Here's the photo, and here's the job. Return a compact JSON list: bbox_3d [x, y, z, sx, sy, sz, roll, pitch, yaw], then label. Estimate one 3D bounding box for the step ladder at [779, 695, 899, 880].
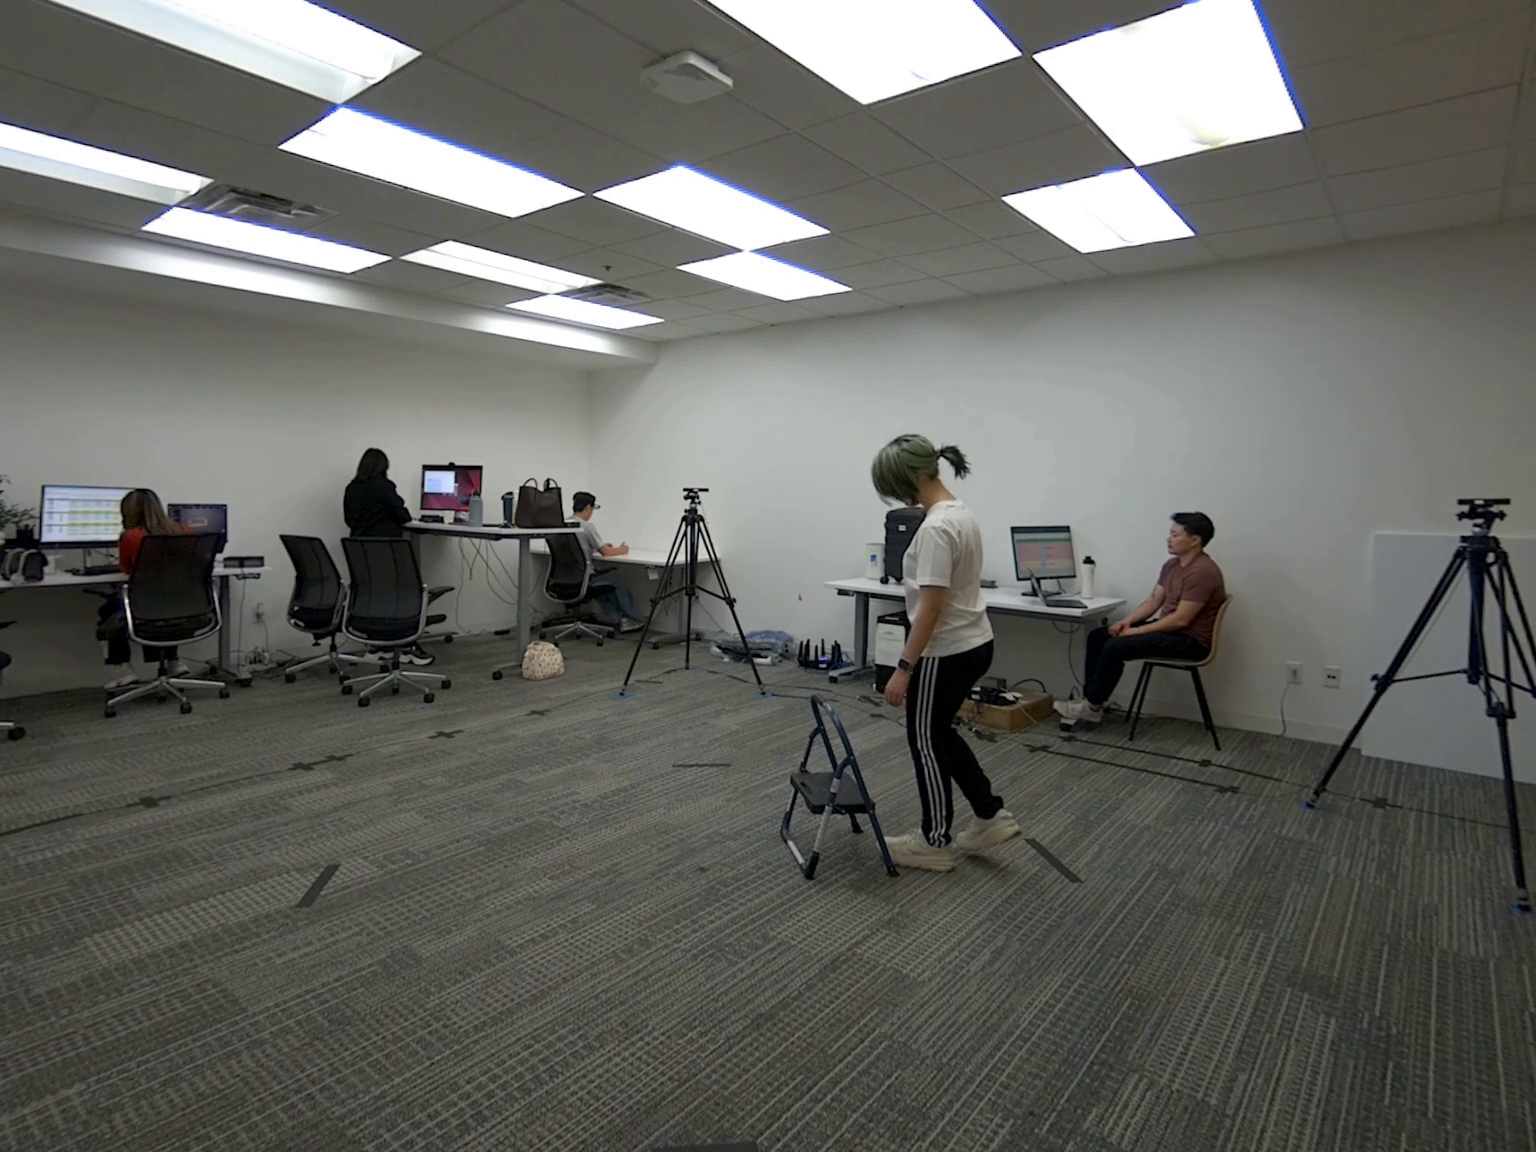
[{"bbox_3d":[0.258,0.766,3.261,0.345,0.604,0.437,1,4,-12],"label":"step ladder"}]
